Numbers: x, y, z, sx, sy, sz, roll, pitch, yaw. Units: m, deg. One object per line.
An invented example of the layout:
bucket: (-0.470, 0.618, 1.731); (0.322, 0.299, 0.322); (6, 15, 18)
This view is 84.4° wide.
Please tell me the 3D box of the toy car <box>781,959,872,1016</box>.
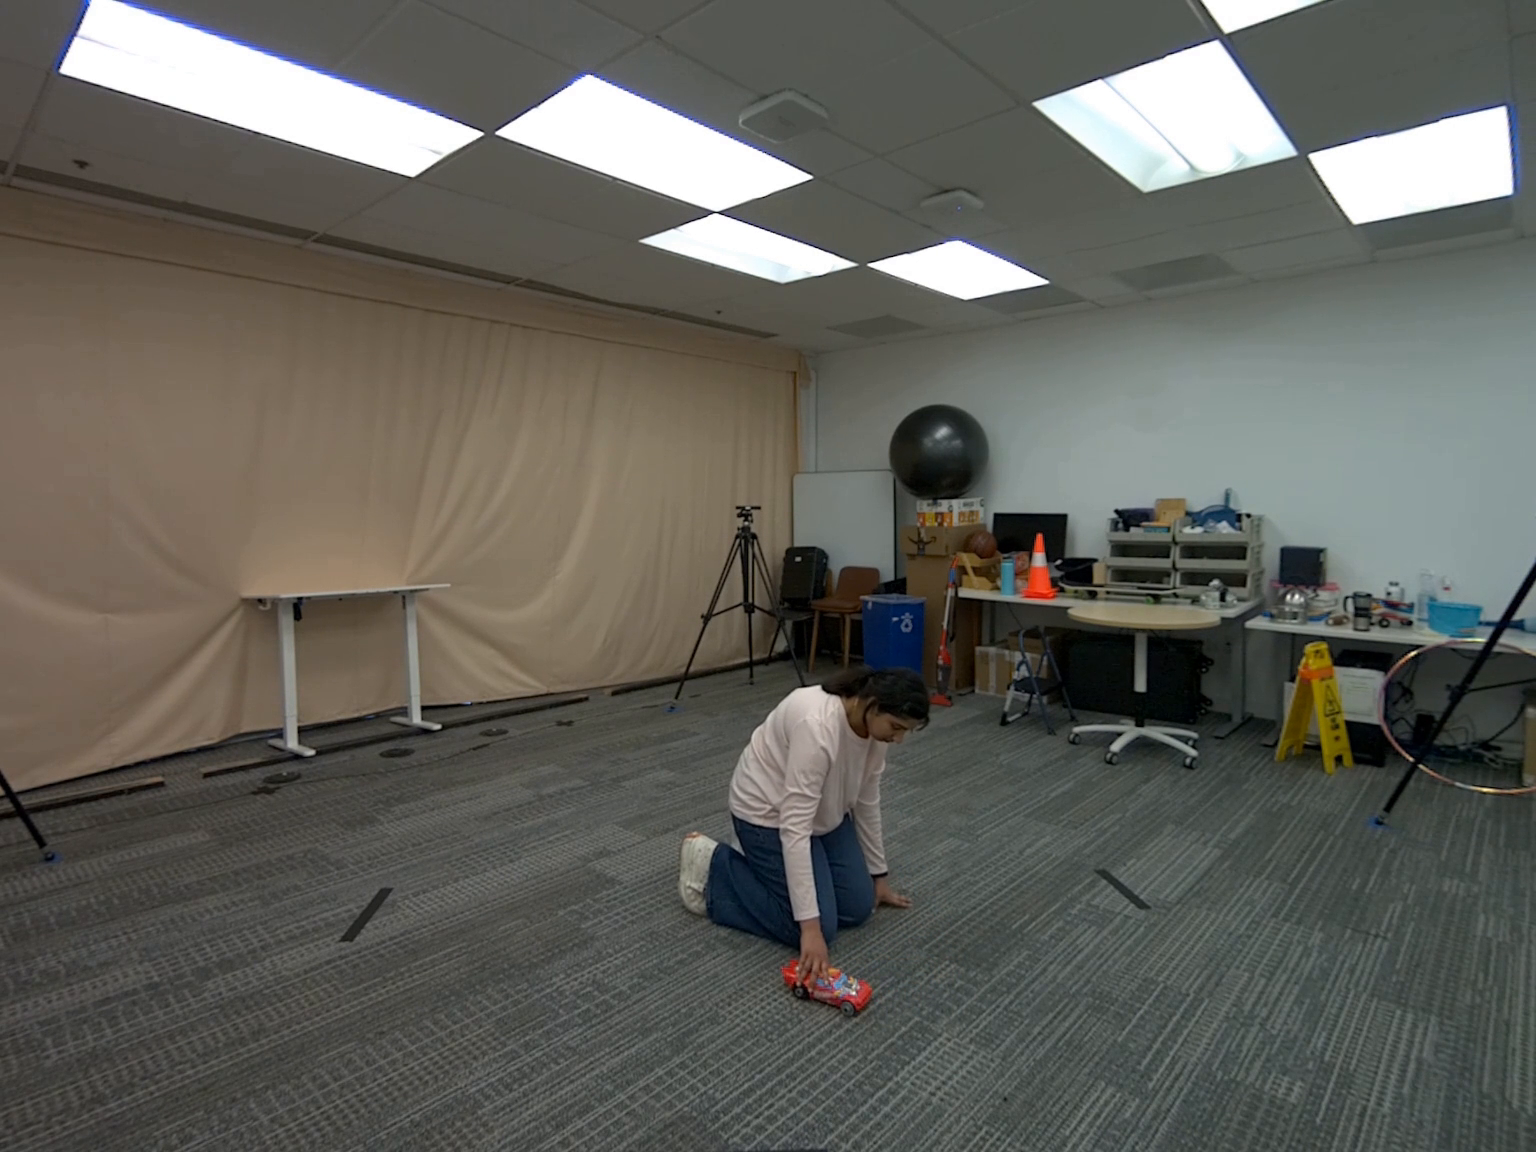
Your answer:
toy car: (0.158, 1.159, 2.395); (0.263, 0.083, 0.127); (15, 12, 30)
